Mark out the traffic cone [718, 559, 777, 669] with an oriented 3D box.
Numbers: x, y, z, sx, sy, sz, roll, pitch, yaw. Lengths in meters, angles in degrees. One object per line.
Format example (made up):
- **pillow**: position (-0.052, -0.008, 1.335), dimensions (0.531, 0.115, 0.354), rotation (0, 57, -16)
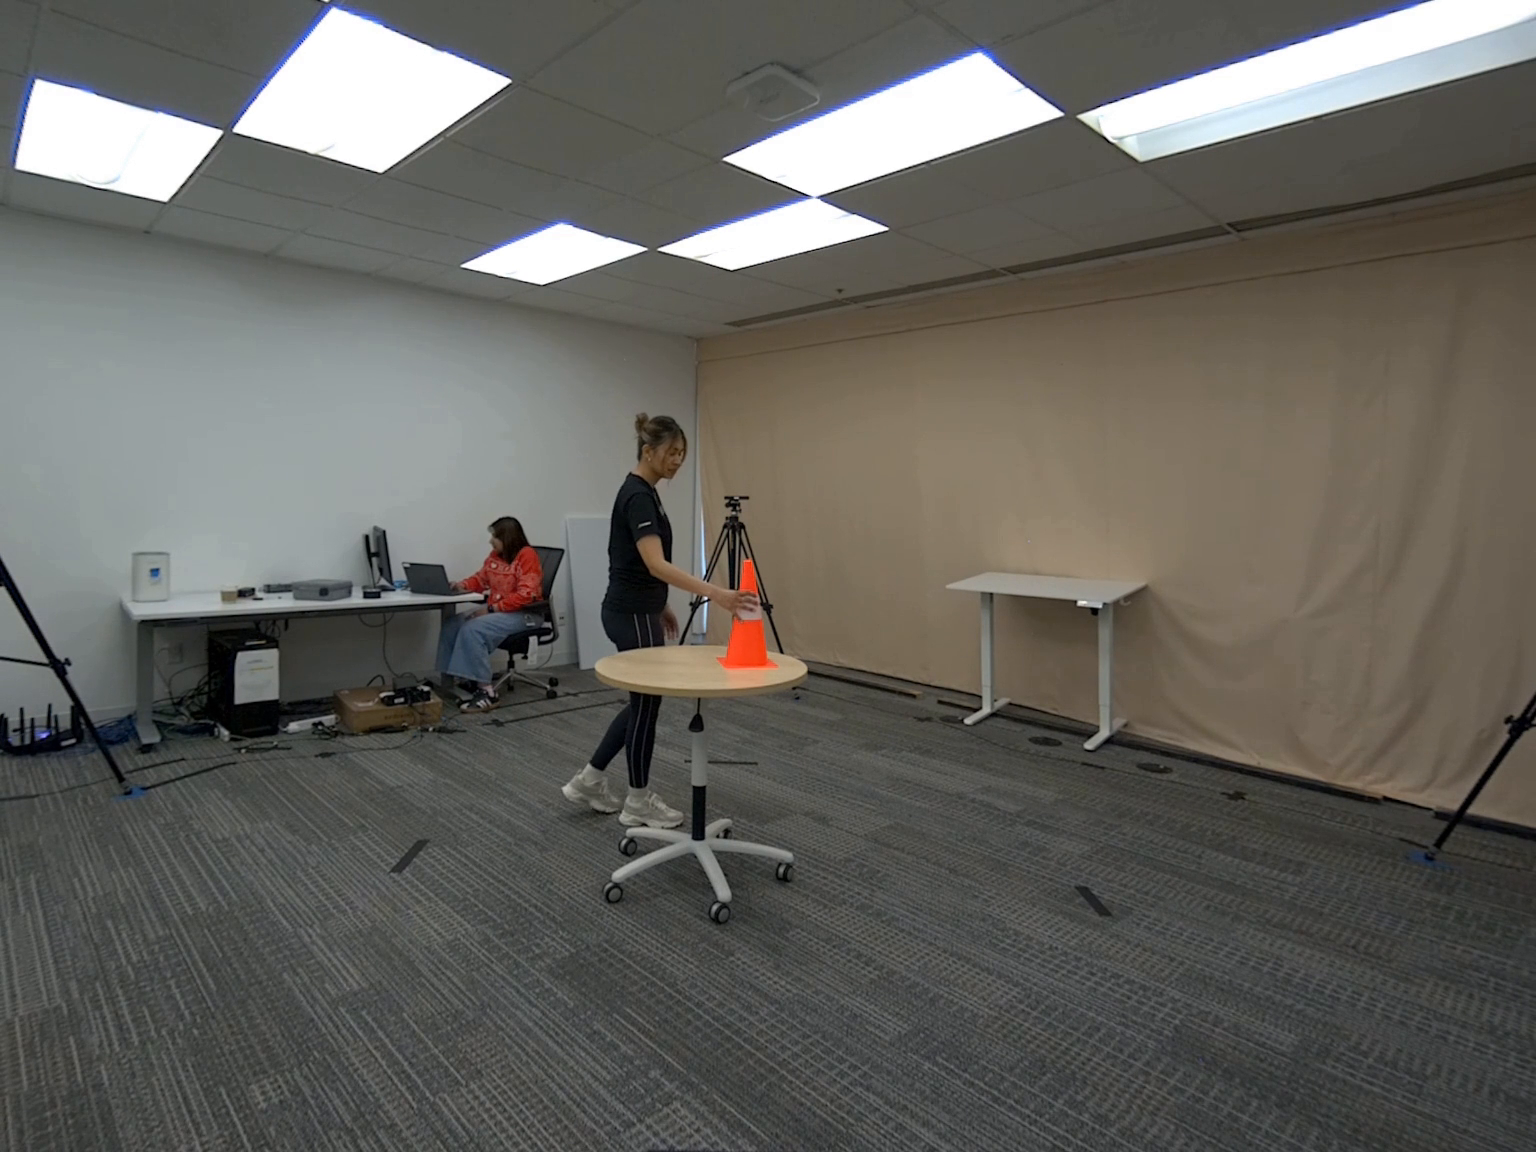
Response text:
- **traffic cone**: position (-0.084, 0.133, 3.102), dimensions (0.200, 0.384, 0.208), rotation (1, 0, -17)
